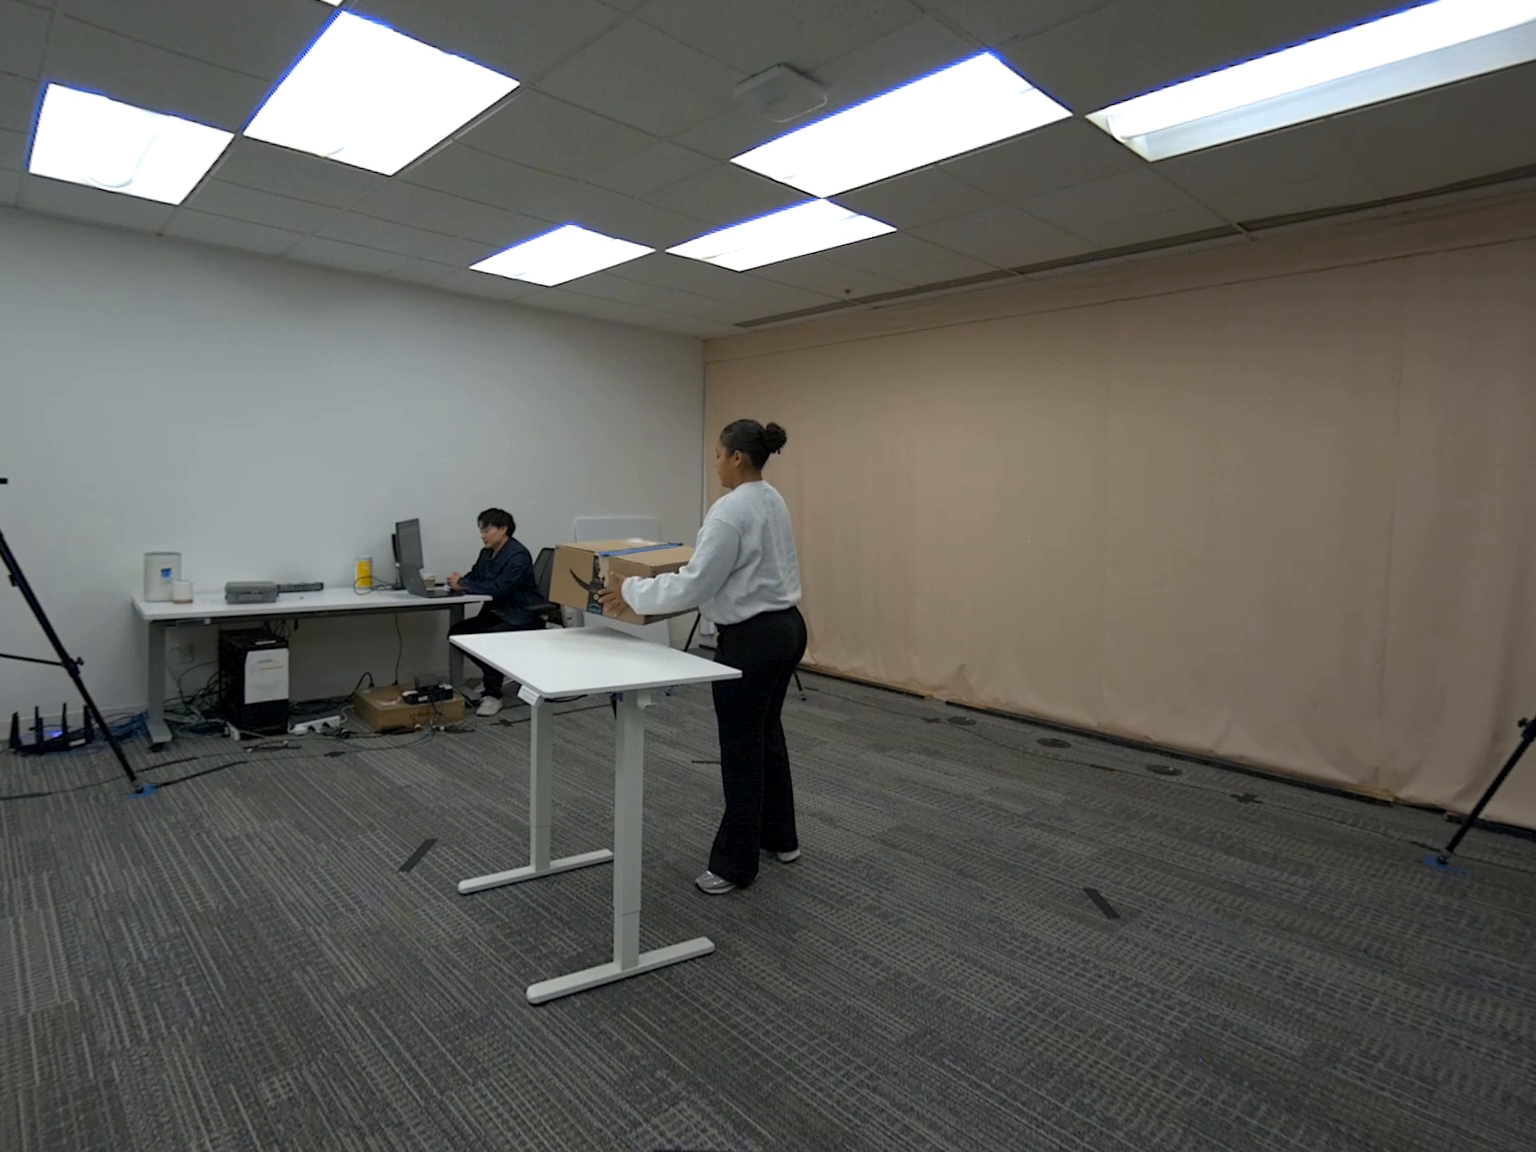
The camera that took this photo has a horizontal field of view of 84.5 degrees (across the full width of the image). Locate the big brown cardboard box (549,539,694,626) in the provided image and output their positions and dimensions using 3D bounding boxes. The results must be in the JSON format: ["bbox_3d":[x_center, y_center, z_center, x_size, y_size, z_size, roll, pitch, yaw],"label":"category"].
[{"bbox_3d":[-0.496,0.005,3.267,0.426,0.232,0.580,11,10,22],"label":"big brown cardboard box"}]
